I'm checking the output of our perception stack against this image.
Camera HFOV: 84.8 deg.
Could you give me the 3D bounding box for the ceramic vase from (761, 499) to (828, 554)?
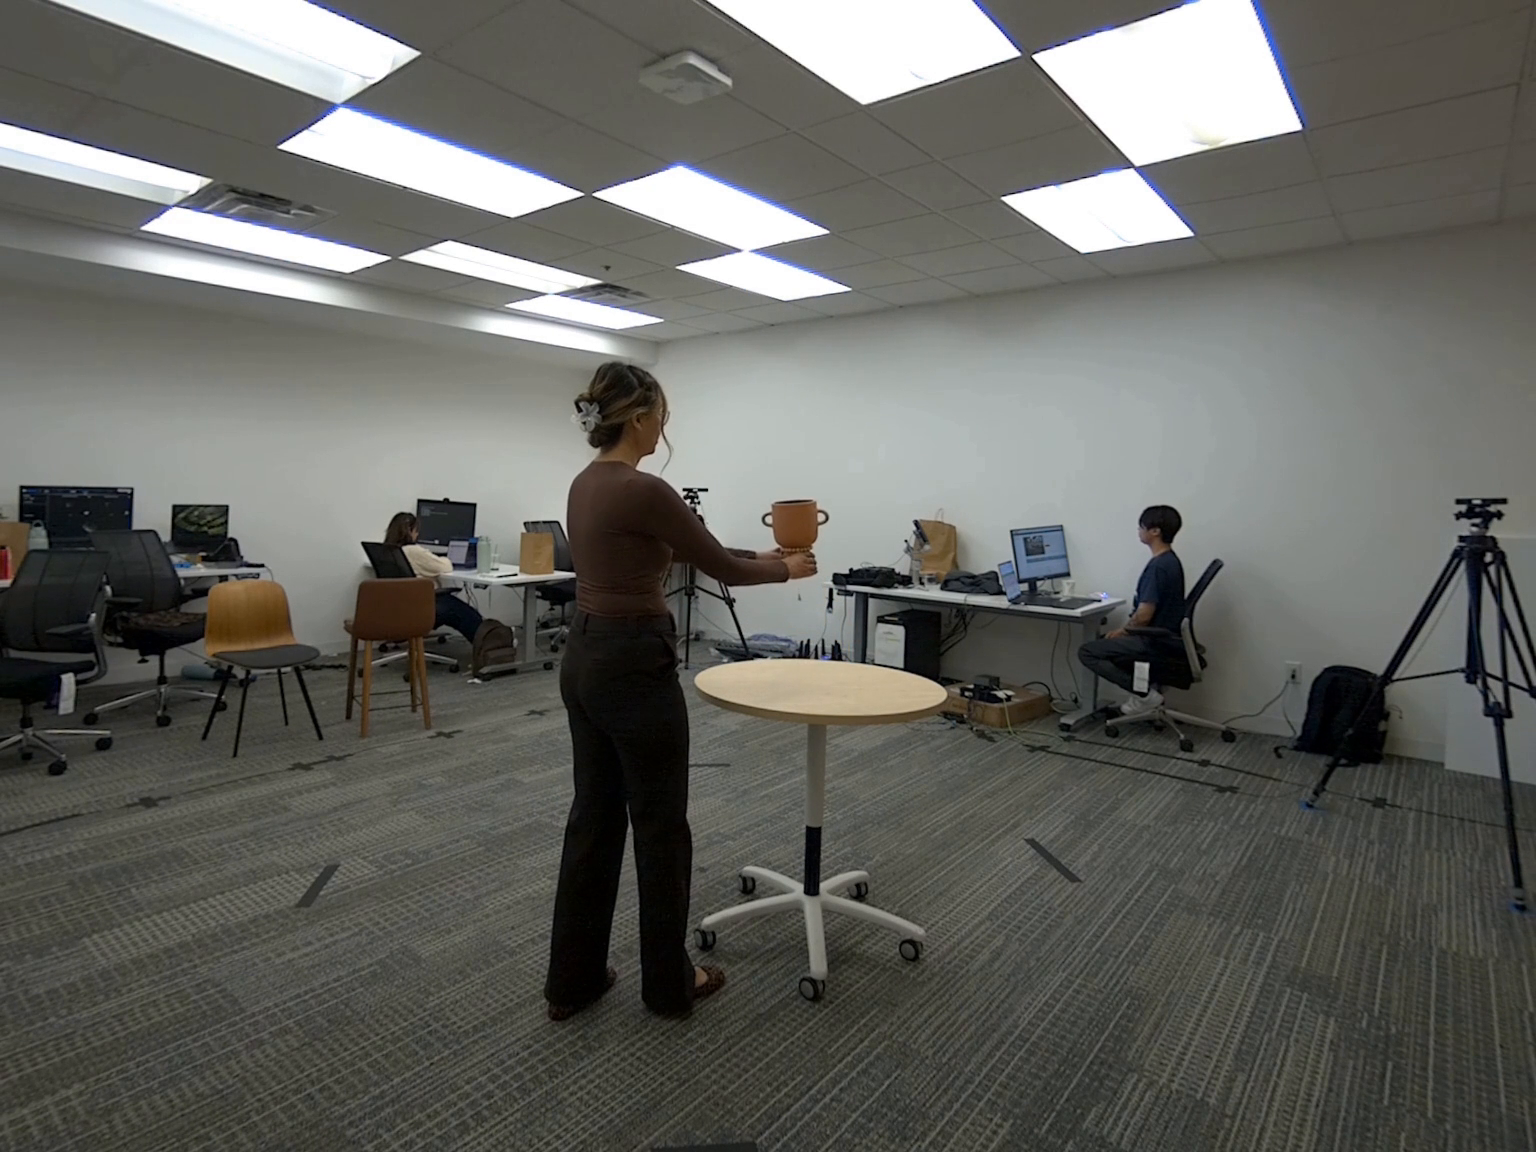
[{"bbox_3d":[0.076,-0.112,2.517,0.131,0.218,0.164,-9,9,-43],"label":"ceramic vase"}]
